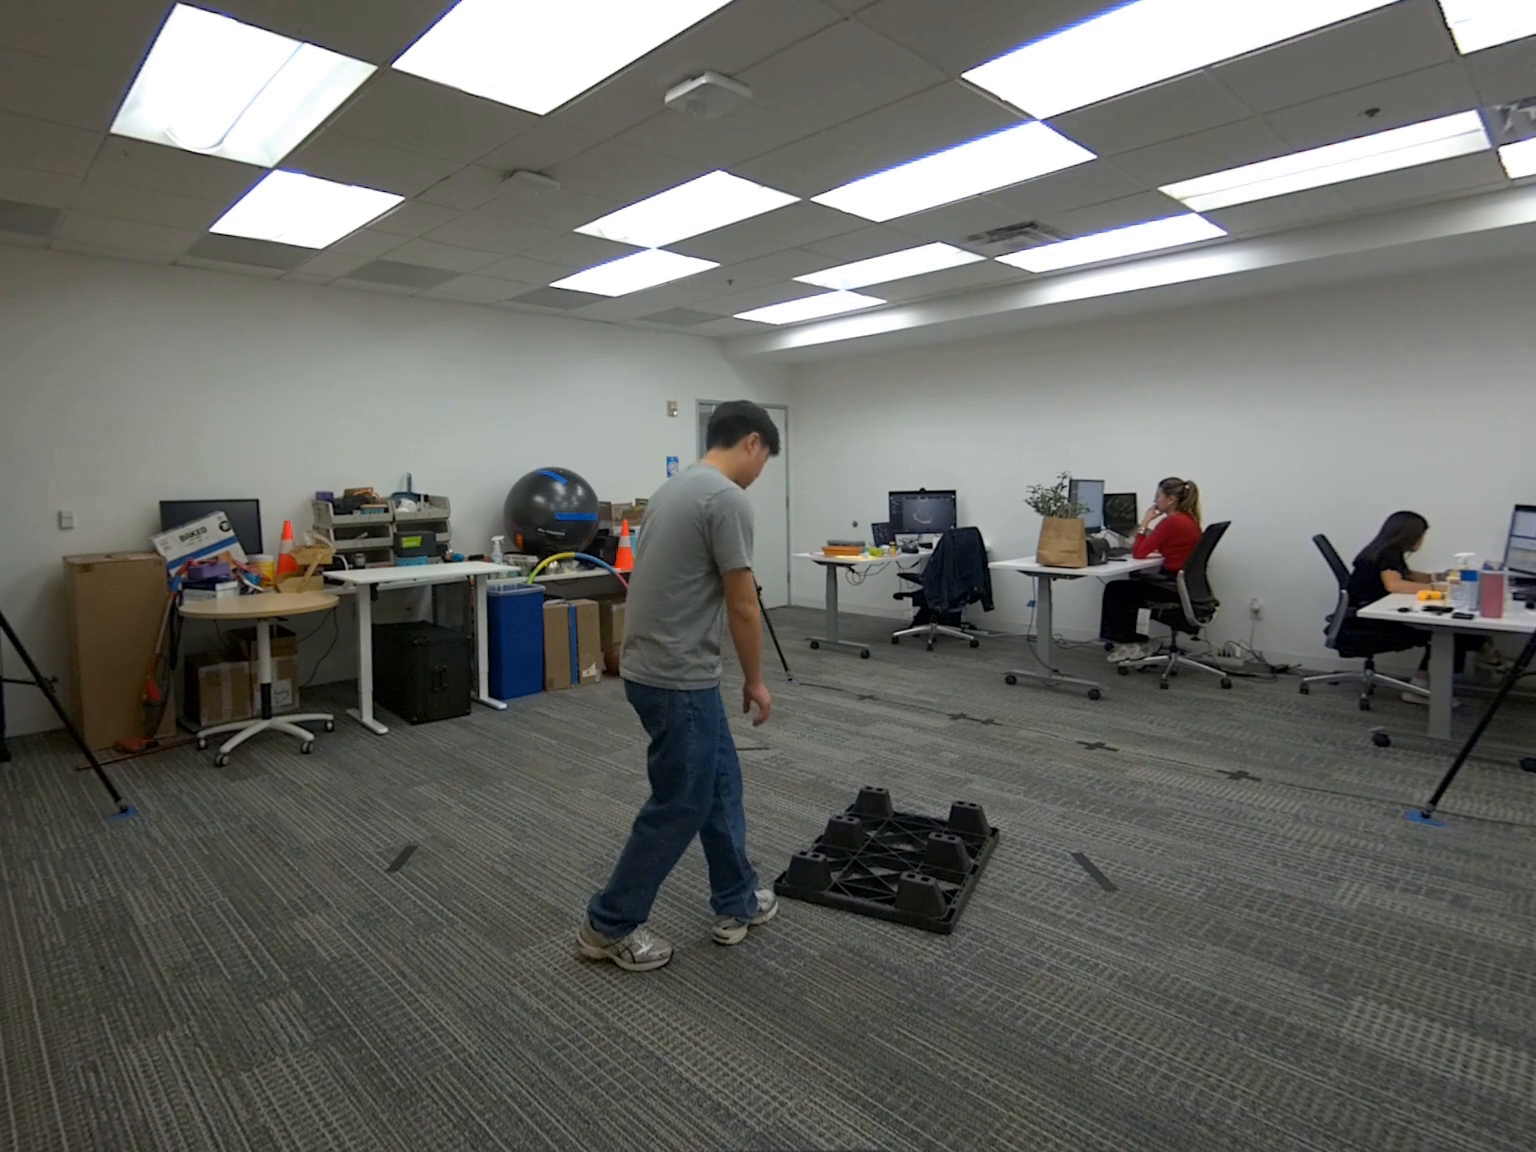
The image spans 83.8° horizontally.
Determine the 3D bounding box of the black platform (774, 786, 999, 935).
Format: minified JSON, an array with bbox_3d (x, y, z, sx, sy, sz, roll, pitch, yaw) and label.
[{"bbox_3d":[0.457,0.974,3.070,0.620,0.142,0.790,2,7,26],"label":"black platform"}]
